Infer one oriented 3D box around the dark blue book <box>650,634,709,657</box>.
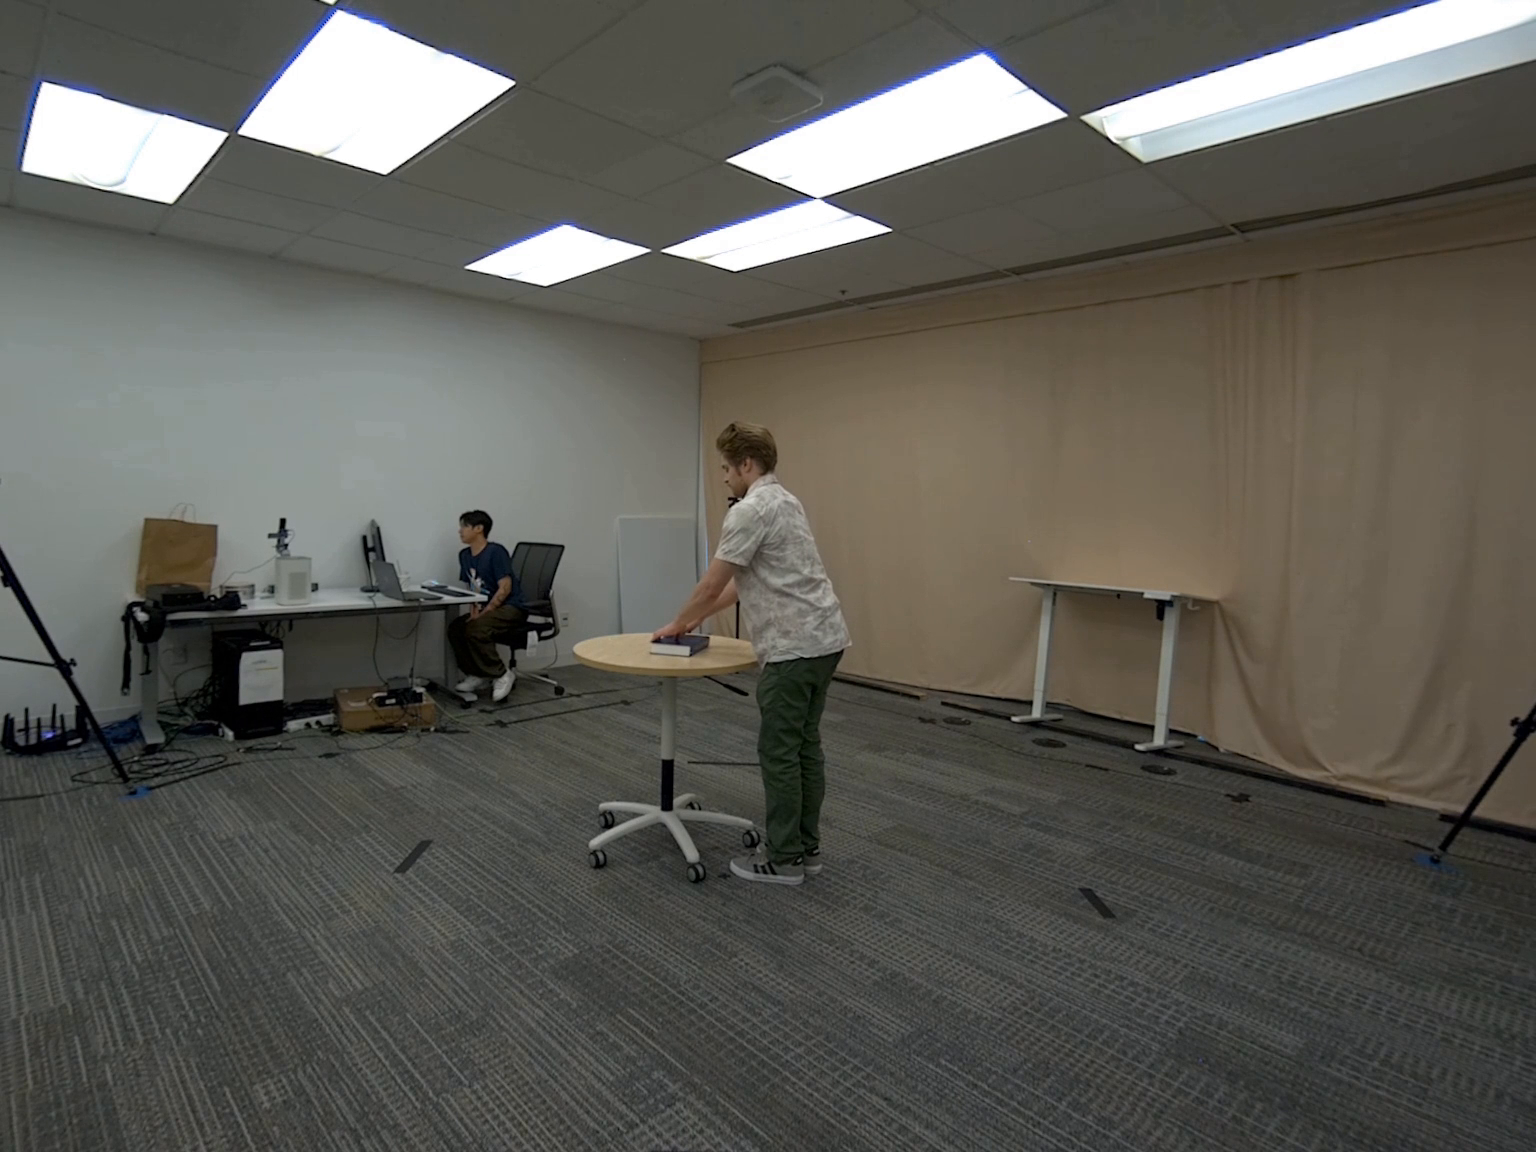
[{"bbox_3d":[-0.353,0.269,3.323,0.165,0.045,0.243,3,6,13],"label":"dark blue book"}]
